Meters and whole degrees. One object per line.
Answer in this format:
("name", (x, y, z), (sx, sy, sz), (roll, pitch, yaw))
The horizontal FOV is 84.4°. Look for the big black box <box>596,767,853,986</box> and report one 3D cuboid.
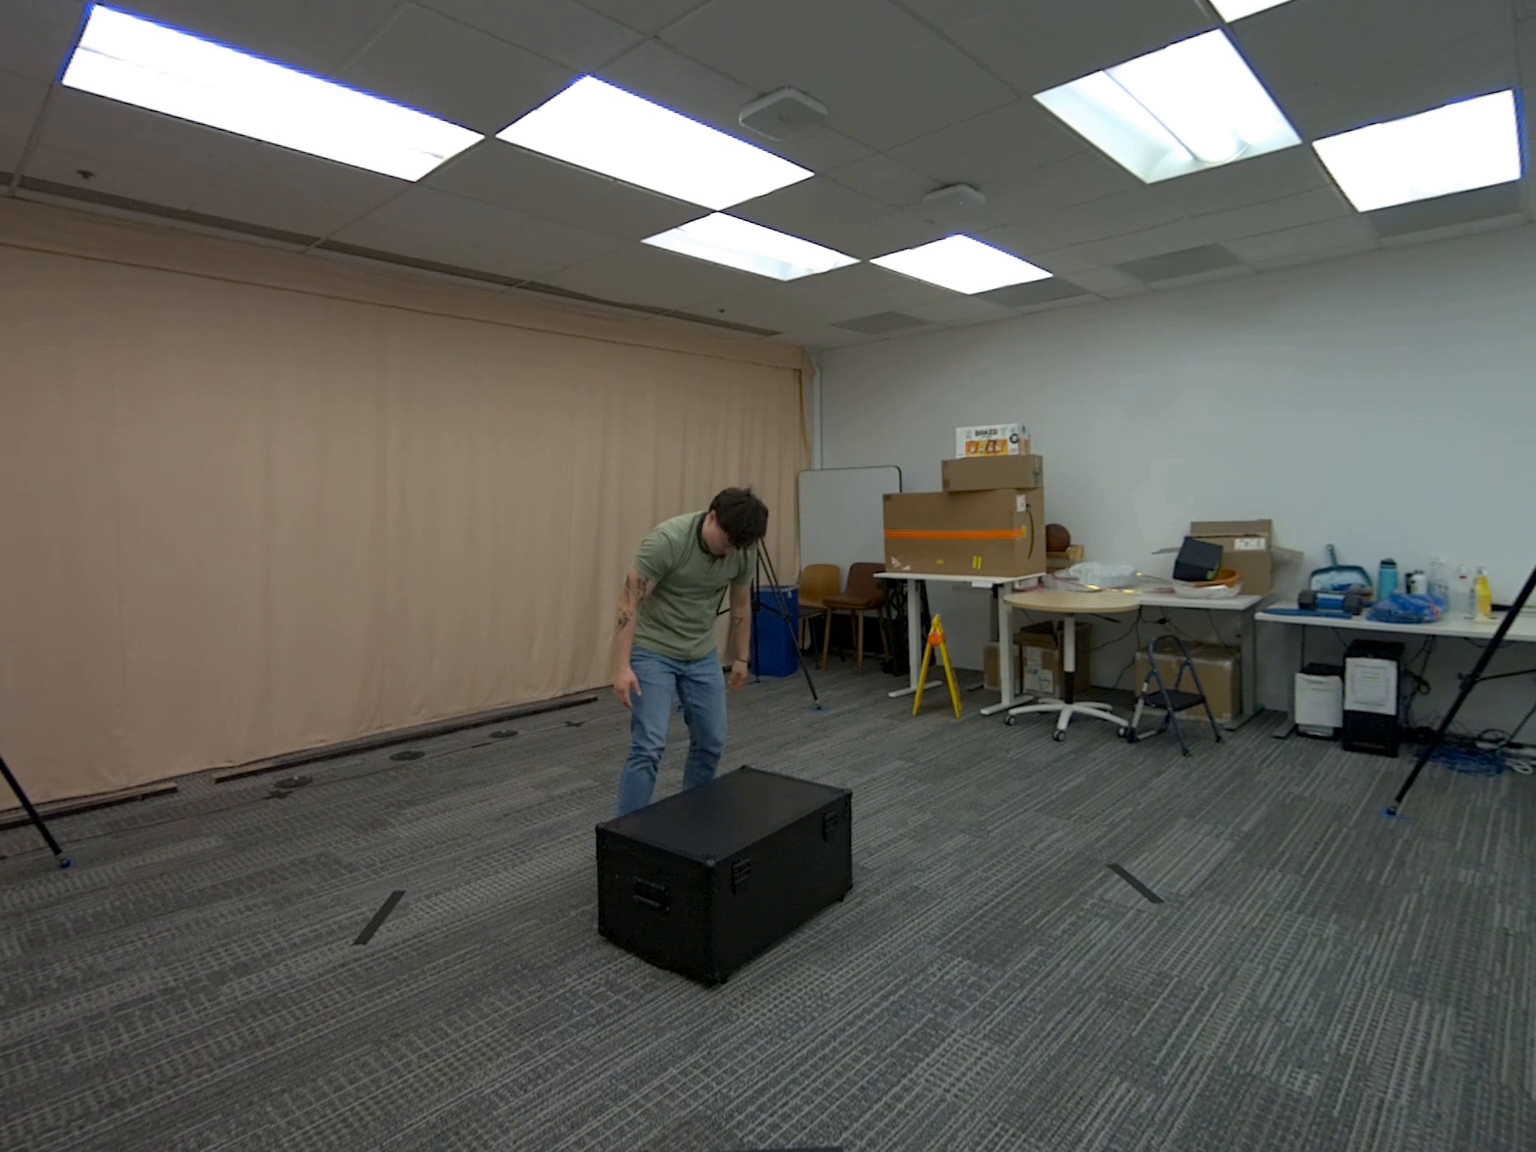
("big black box", (-0.095, 0.961, 2.860), (0.538, 0.395, 0.837), (2, 6, 38))
